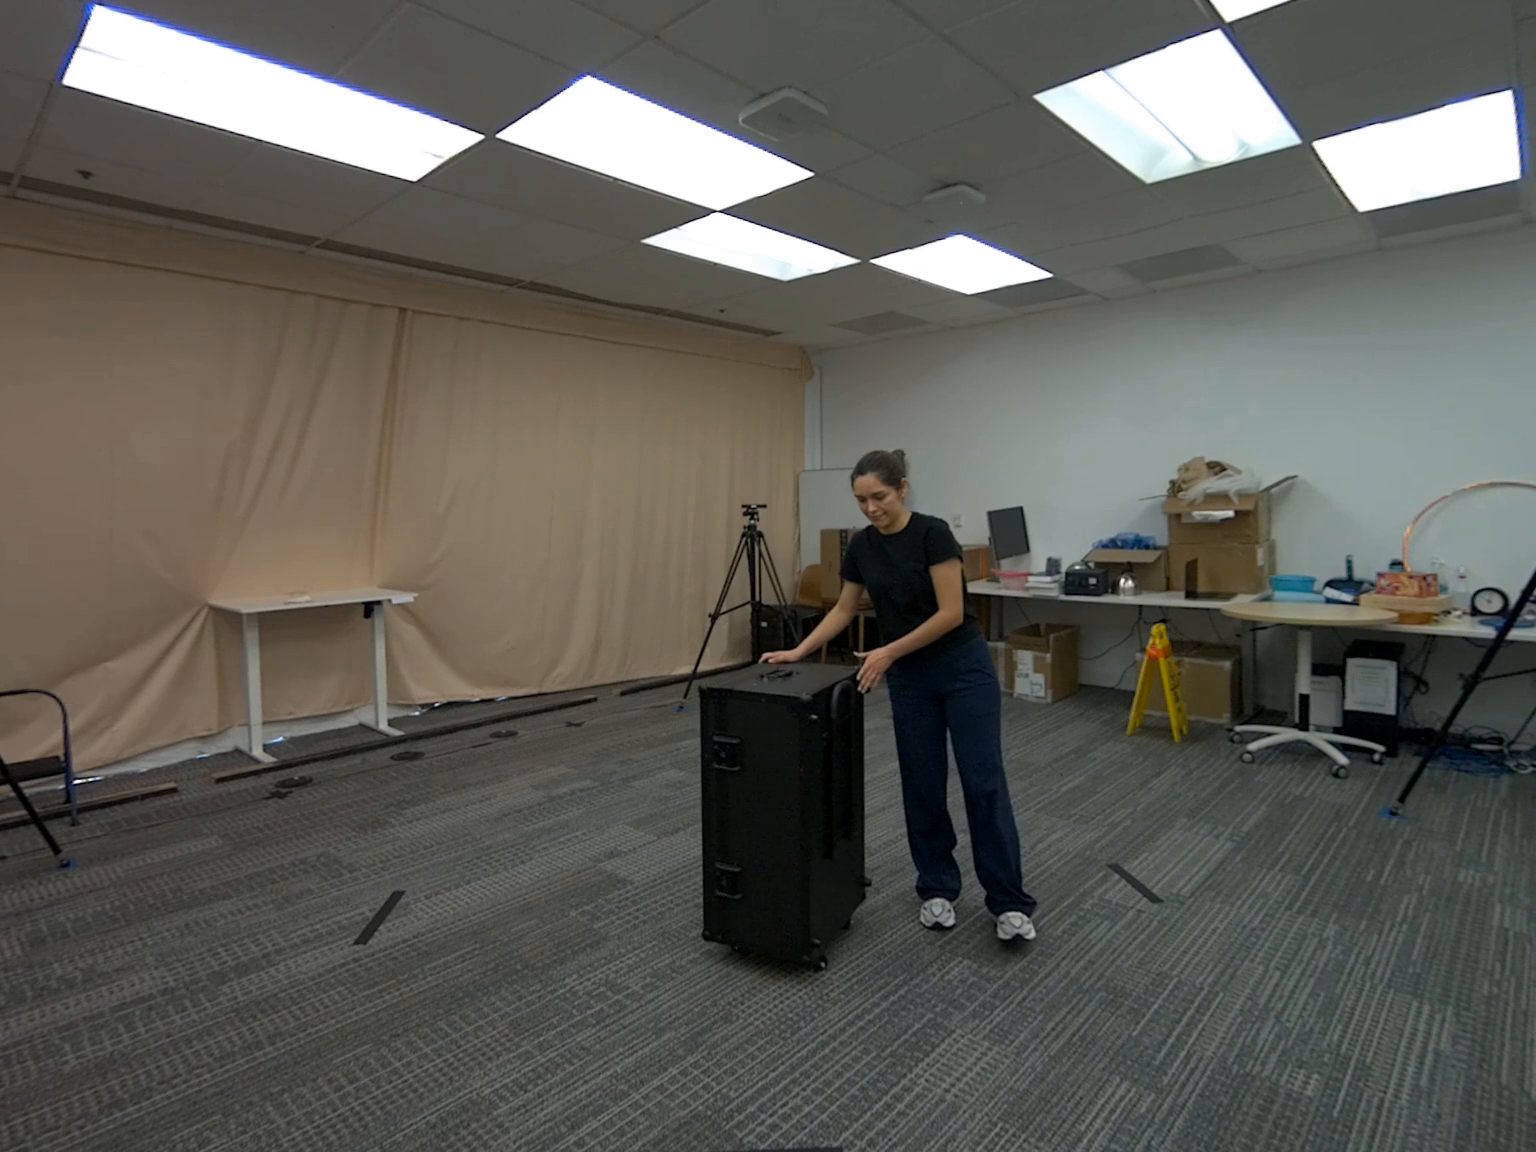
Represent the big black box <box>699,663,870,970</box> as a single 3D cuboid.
[{"bbox_3d":[0.091,0.741,2.673,0.407,0.859,0.508,2,4,28],"label":"big black box"}]
